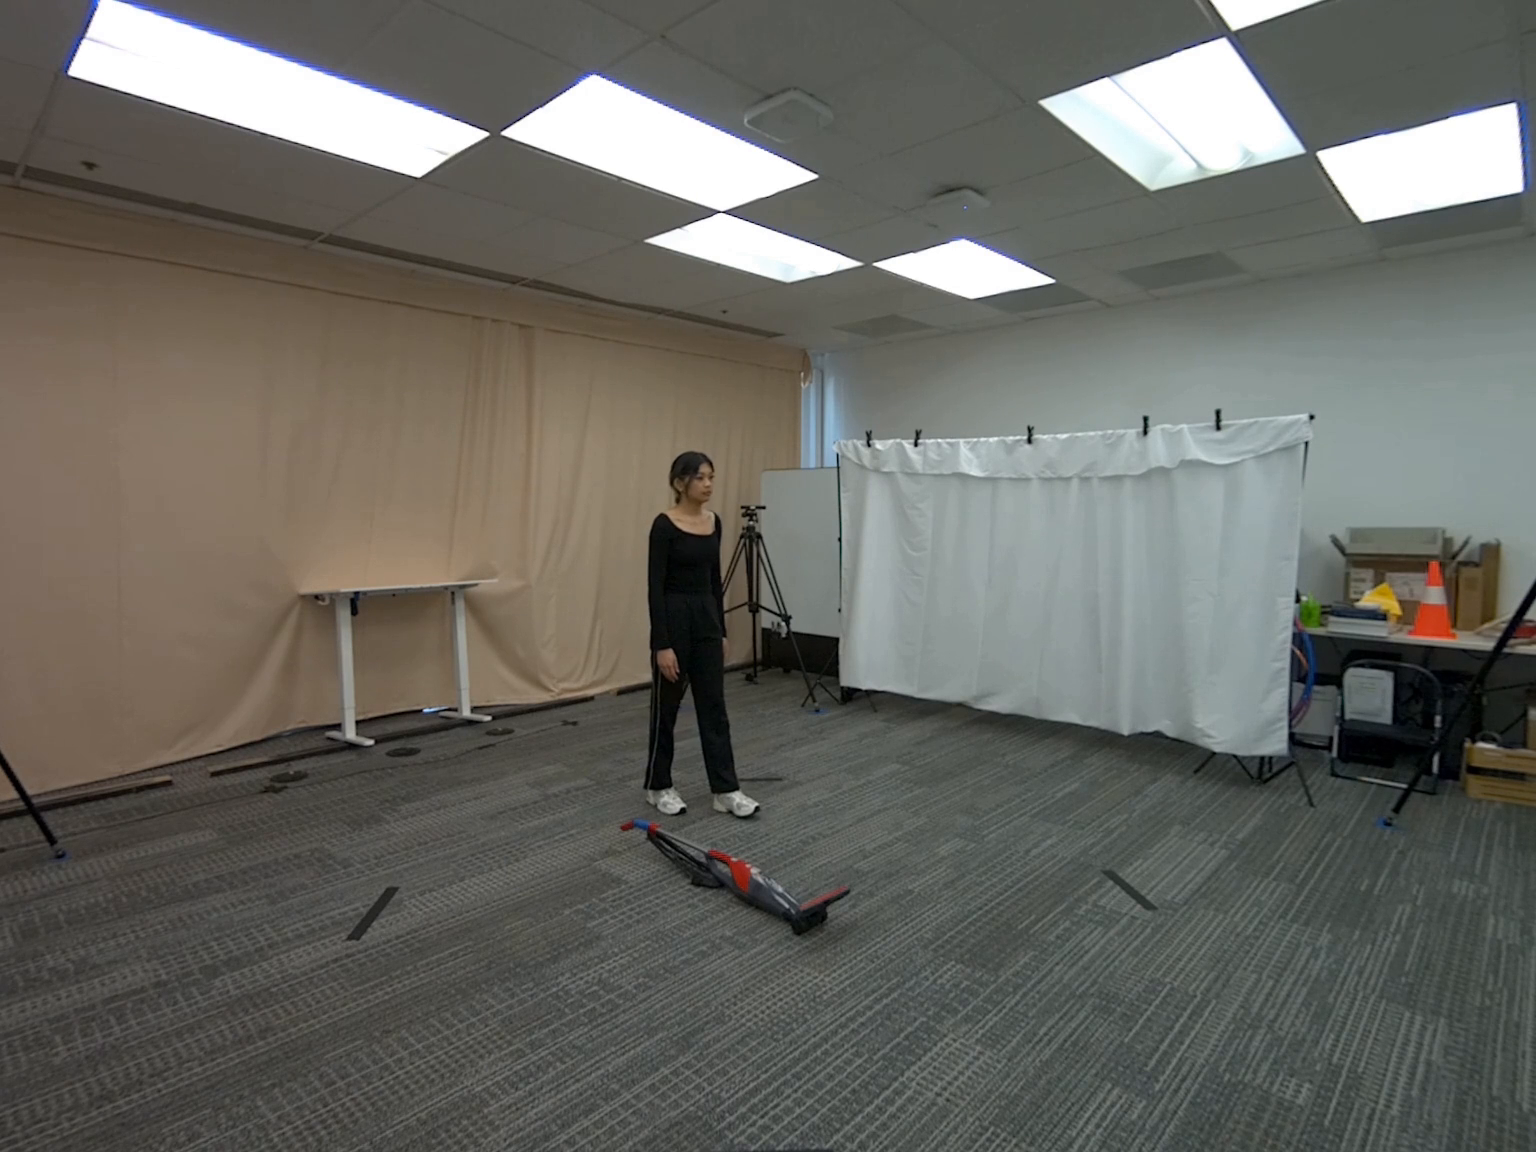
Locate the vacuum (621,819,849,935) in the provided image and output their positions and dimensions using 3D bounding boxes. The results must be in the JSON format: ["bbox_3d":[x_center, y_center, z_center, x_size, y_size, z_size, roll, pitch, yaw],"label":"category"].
[{"bbox_3d":[-0.209,1.081,3.118,1.084,0.144,0.244,3,3,45],"label":"vacuum"}]
